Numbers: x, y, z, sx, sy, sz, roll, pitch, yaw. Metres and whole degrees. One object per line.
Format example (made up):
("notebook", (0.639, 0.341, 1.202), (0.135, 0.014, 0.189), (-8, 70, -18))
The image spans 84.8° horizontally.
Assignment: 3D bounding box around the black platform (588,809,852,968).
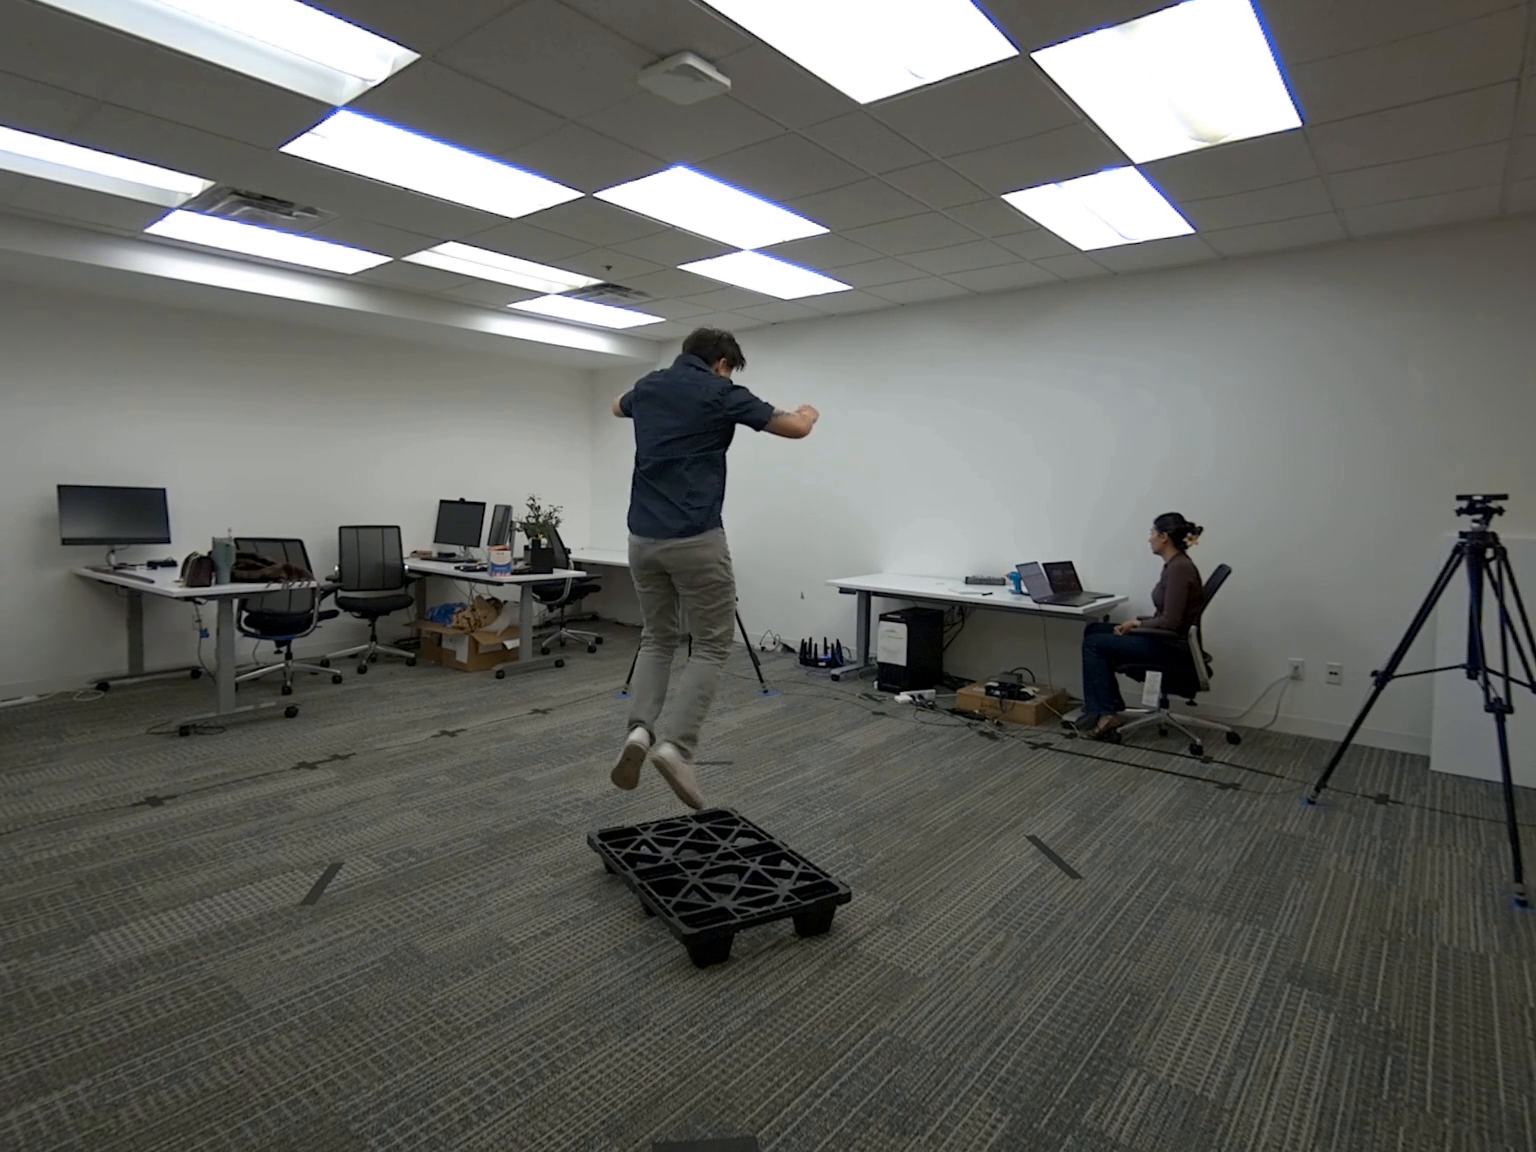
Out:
("black platform", (-0.205, 1.022, 2.874), (0.589, 0.143, 0.830), (-3, 7, -31))
